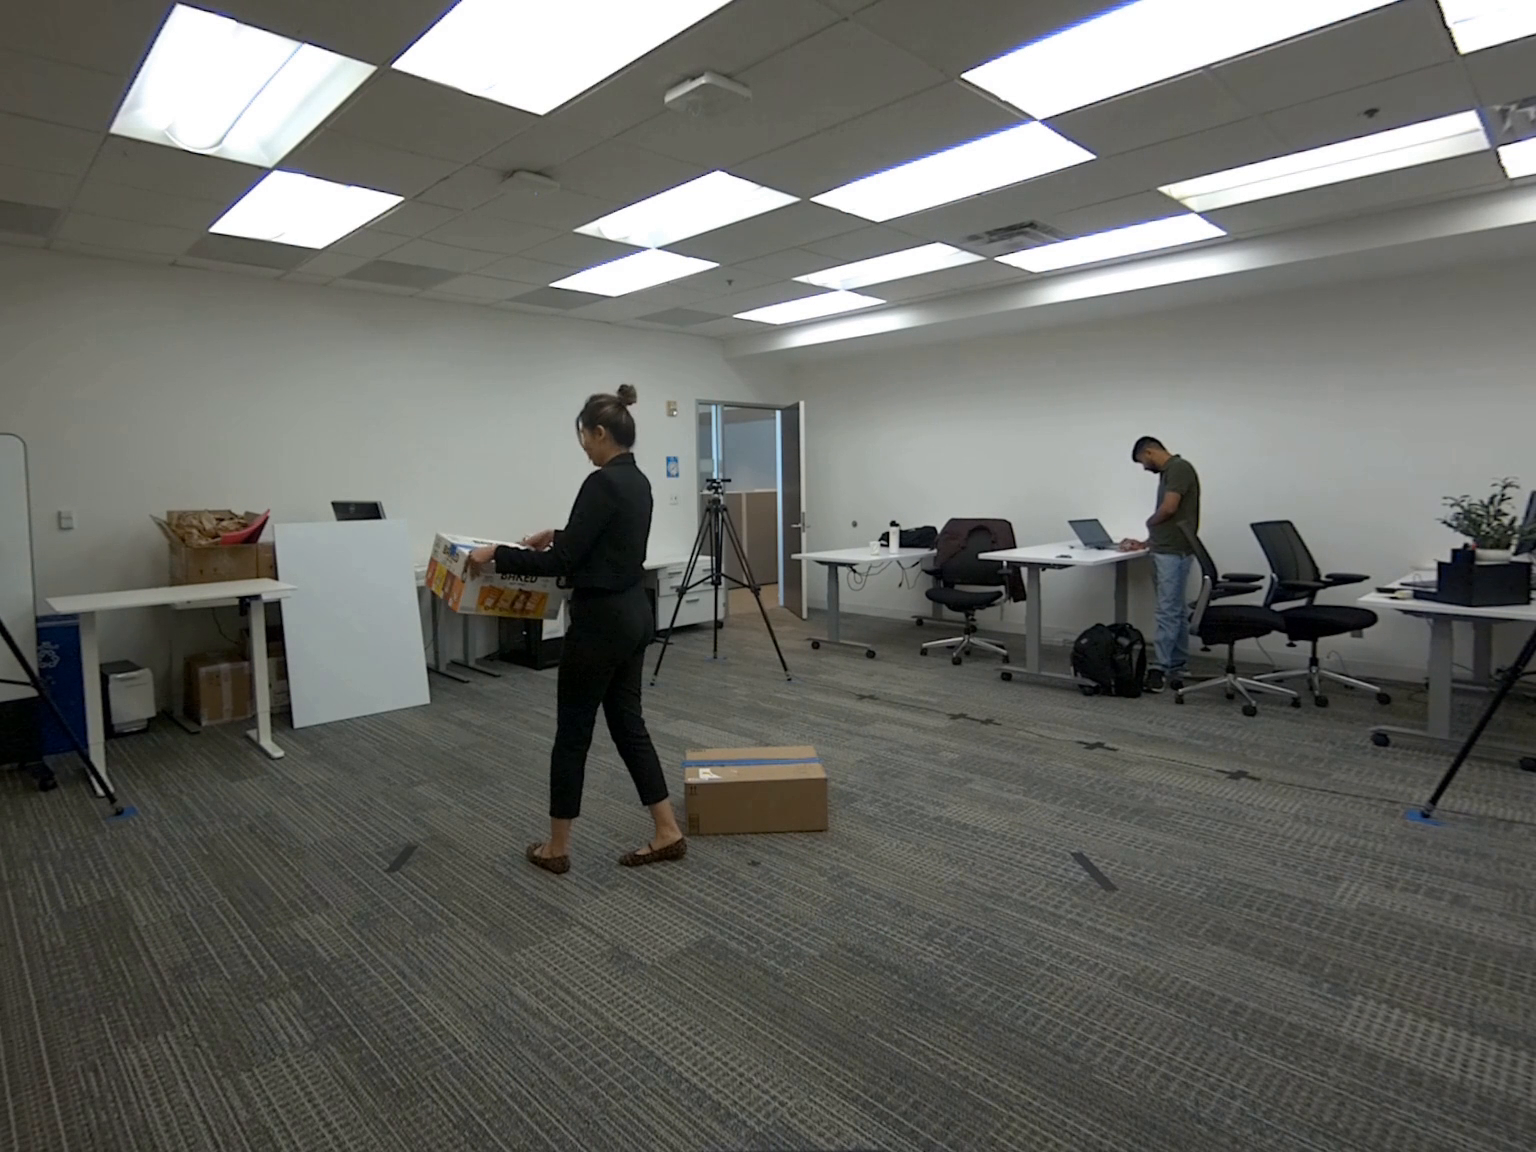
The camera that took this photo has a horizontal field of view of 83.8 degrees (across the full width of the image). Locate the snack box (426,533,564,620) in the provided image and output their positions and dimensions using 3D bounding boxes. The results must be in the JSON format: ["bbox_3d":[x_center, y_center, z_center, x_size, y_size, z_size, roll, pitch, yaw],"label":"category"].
[{"bbox_3d":[-1.016,0.000,3.225,0.392,0.205,0.353,8,12,-43],"label":"snack box"}]
